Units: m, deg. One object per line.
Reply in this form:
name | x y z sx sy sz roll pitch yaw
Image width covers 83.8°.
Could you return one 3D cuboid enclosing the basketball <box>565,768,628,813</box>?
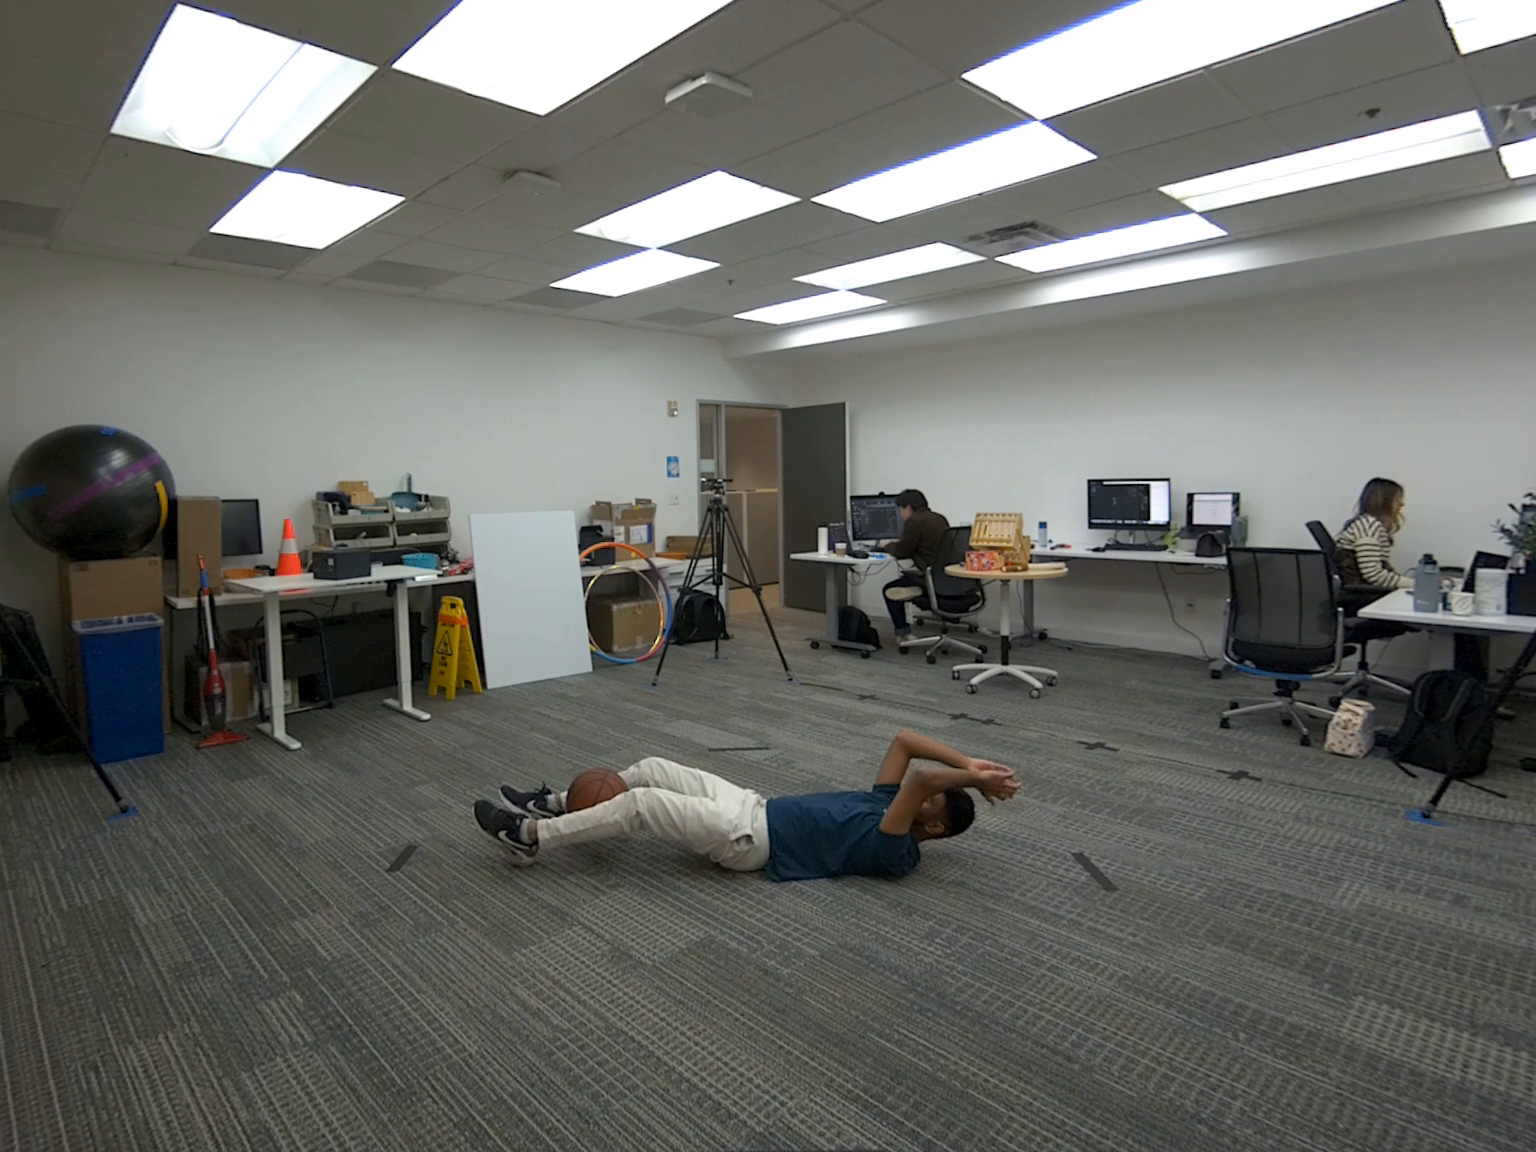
basketball | -0.641 0.840 3.217 0.236 0.235 0.237 -1 5 -2
